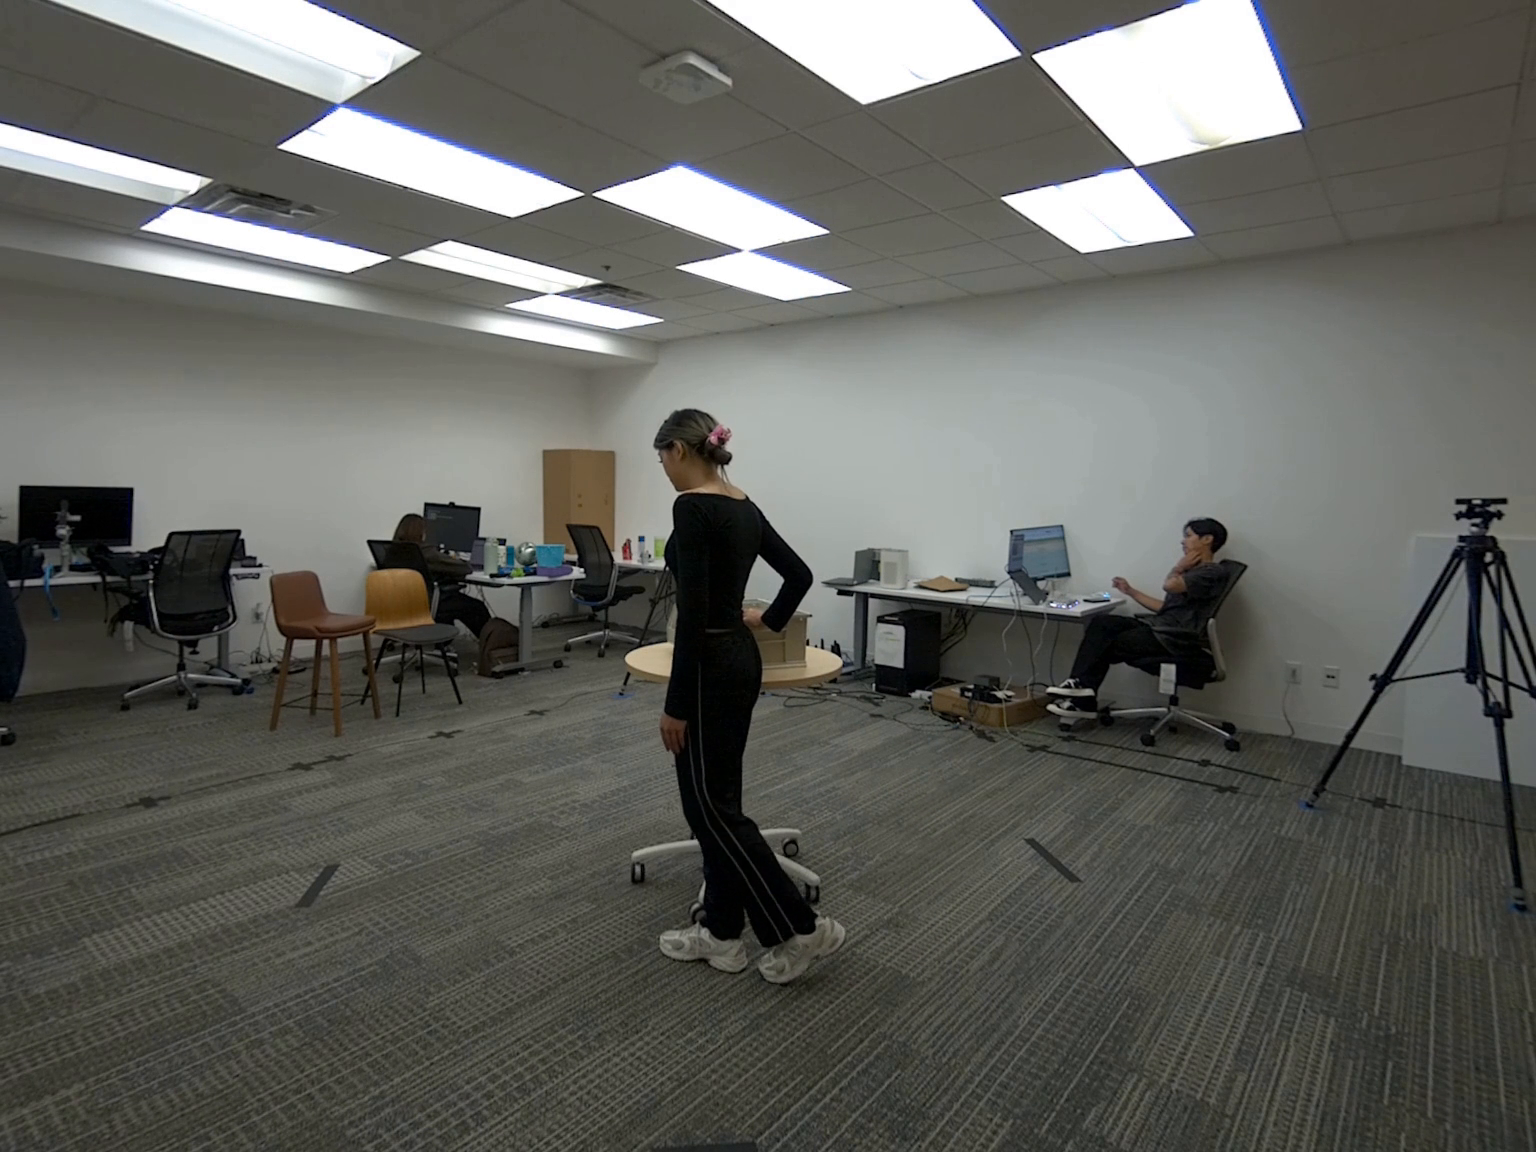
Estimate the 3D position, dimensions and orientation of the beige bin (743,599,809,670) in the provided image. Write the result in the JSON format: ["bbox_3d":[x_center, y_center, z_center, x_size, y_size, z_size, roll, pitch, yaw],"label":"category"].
[{"bbox_3d":[-0.118,0.203,2.998,0.369,0.188,0.433,-1,5,-23],"label":"beige bin"}]
